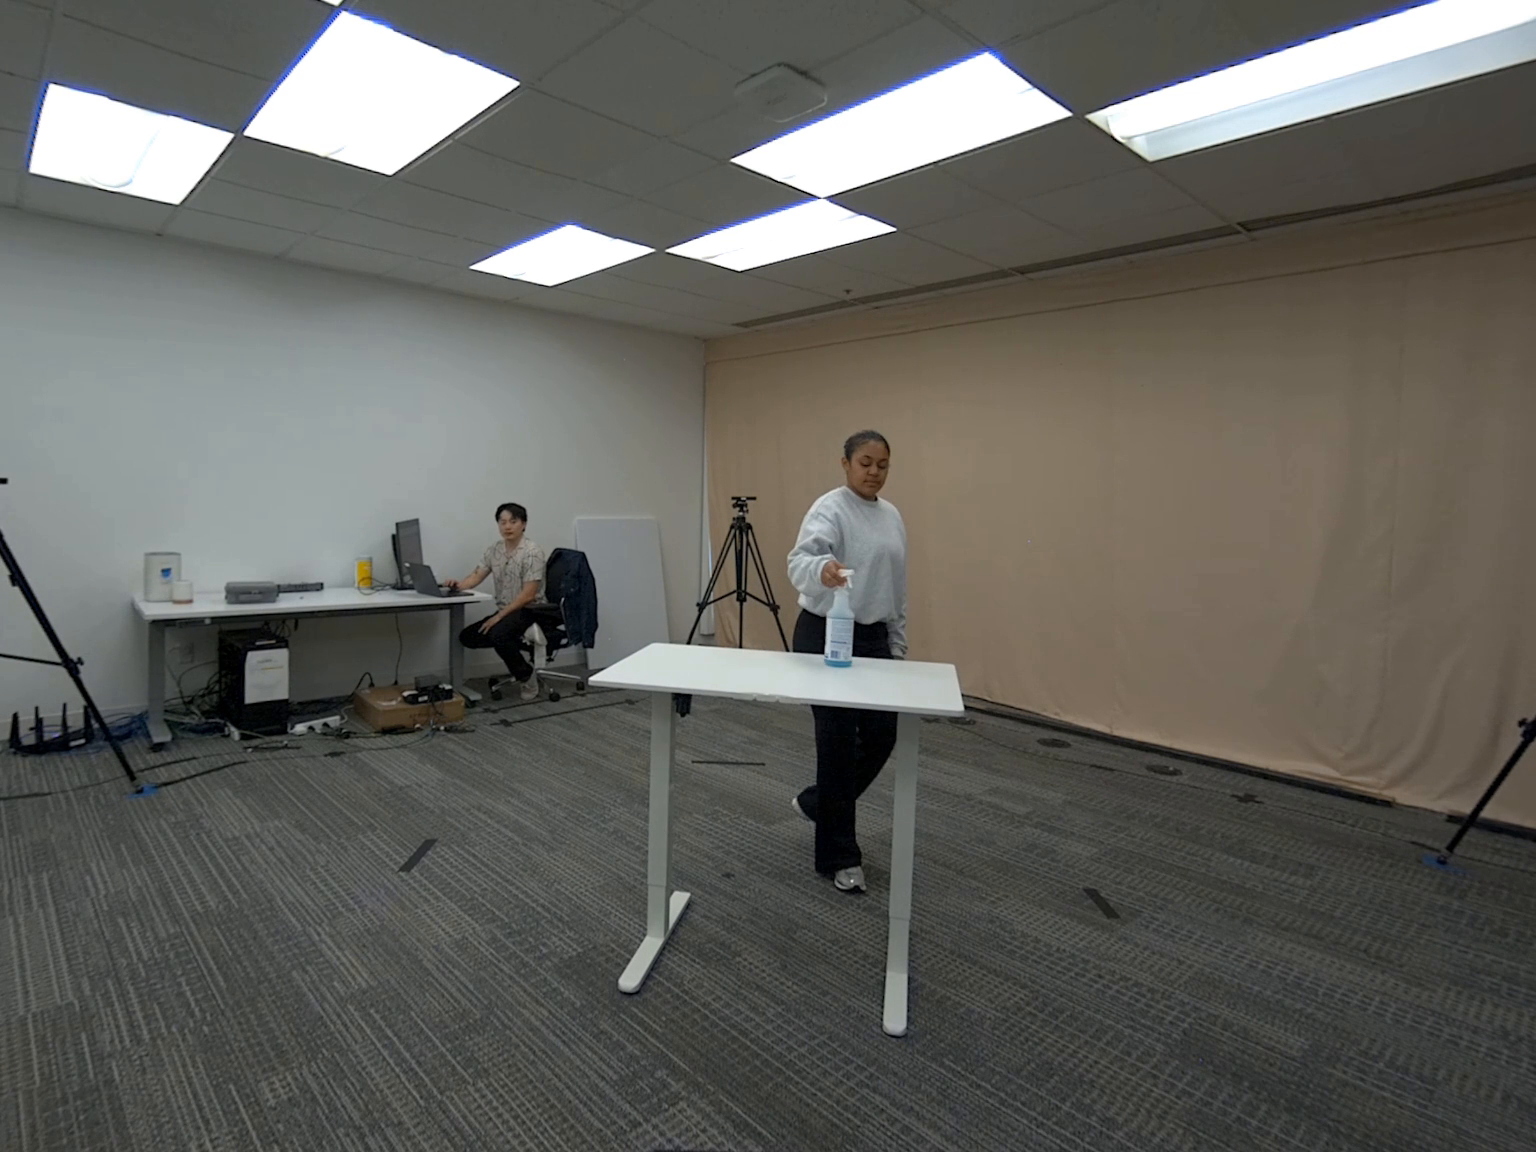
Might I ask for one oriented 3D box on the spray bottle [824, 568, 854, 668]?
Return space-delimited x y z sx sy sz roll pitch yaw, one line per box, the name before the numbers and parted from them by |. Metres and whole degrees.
spray bottle | 0.220 0.127 2.620 0.087 0.297 0.090 3 1 -4
